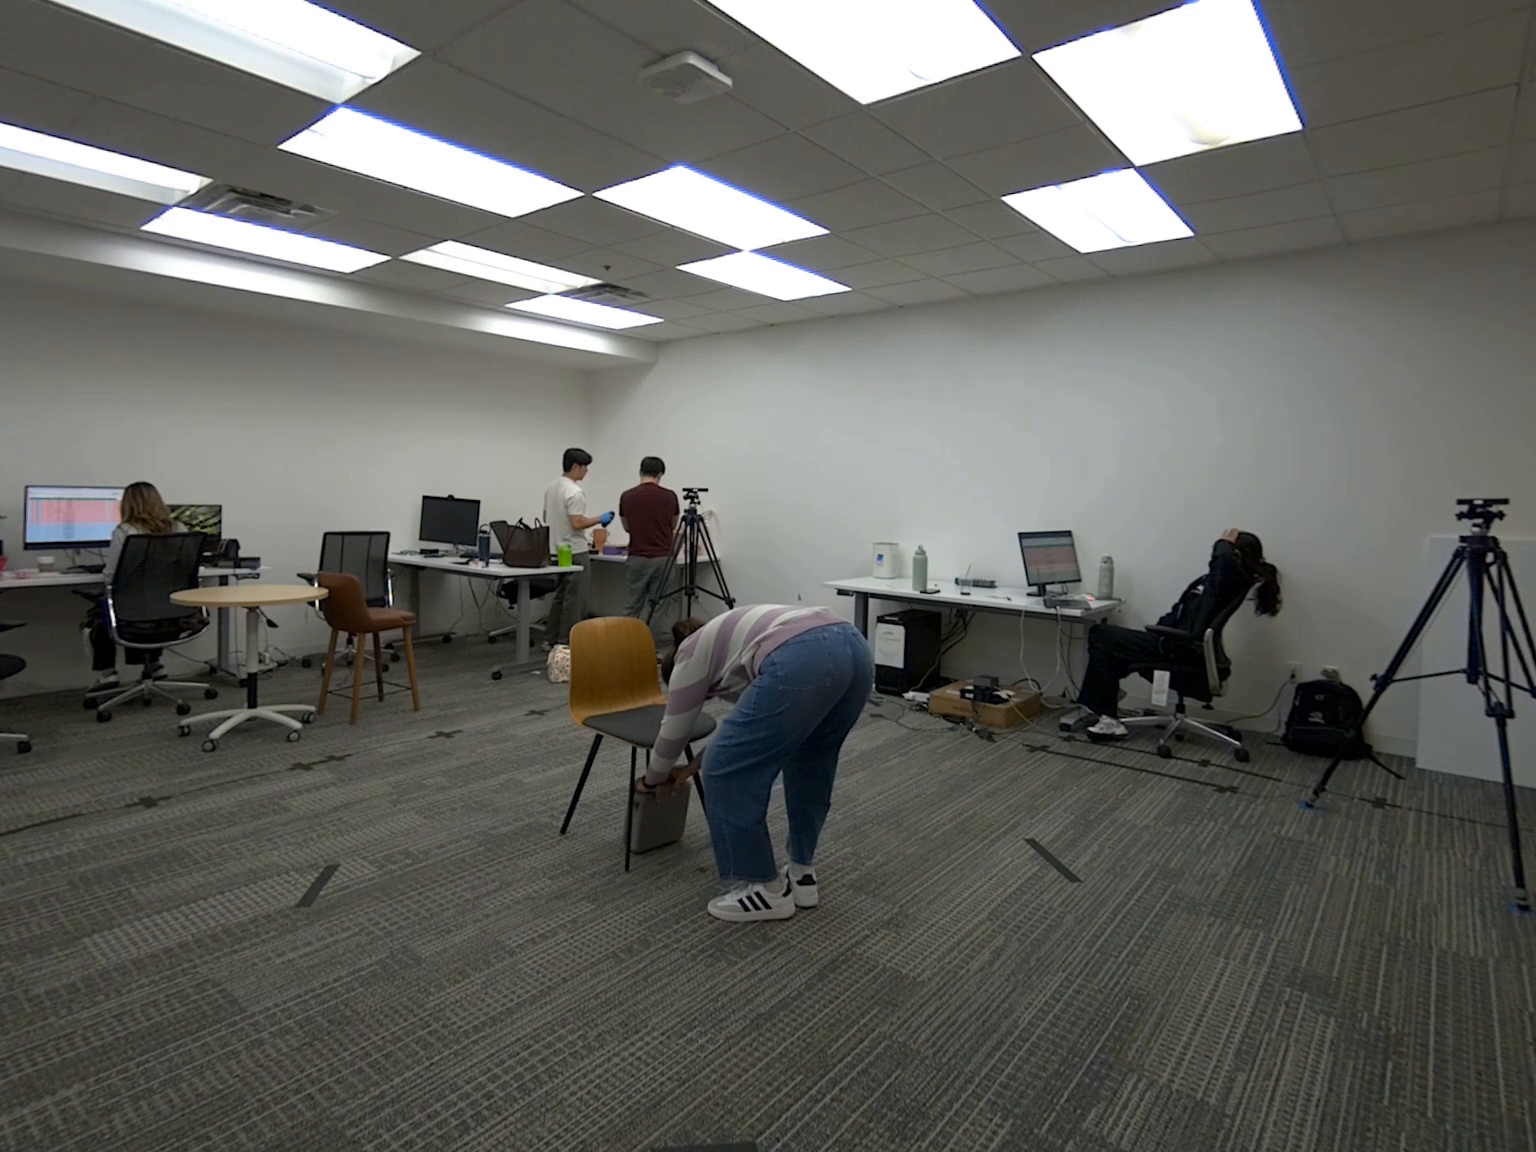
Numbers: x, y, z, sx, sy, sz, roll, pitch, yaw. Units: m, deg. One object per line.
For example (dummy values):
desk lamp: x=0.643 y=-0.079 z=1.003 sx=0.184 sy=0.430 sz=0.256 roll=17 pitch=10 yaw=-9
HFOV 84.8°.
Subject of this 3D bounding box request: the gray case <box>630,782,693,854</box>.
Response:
gray case: x=-0.435 y=0.913 z=3.294 sx=0.108 sy=0.258 sz=0.249 roll=18 pitch=16 yaw=42
